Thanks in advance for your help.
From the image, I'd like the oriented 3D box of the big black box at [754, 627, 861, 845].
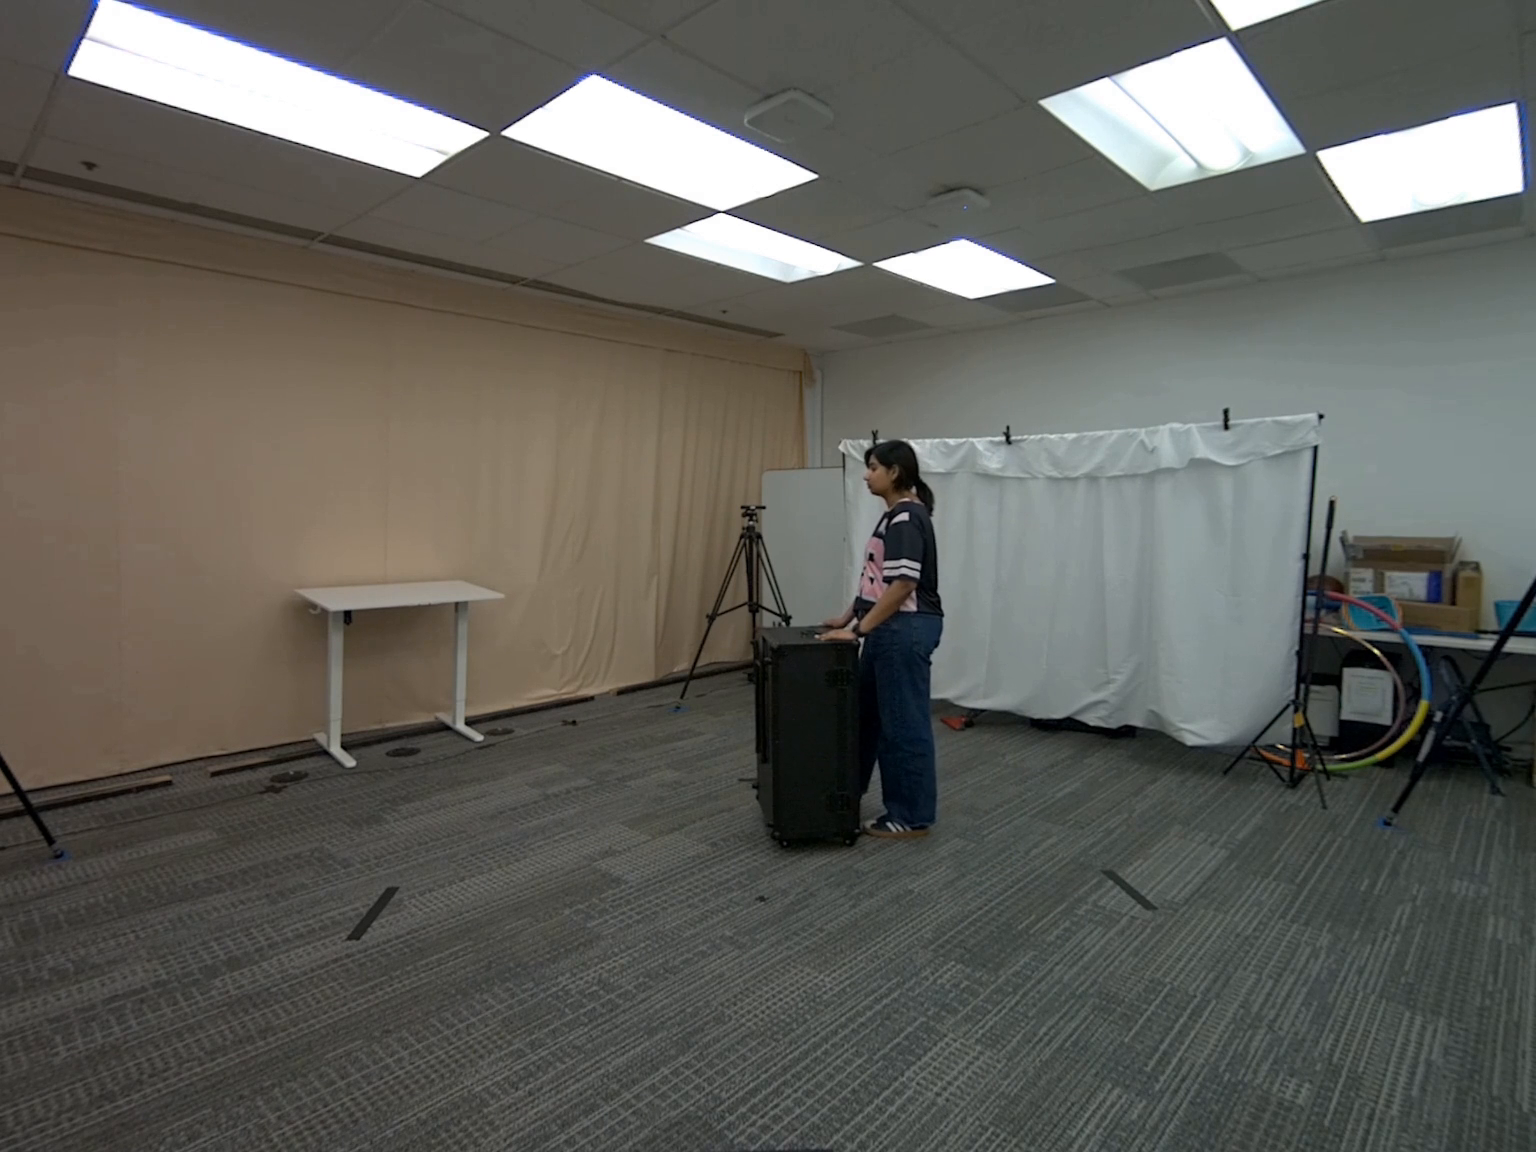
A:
[{"bbox_3d":[0.155,0.671,3.562,0.382,0.866,0.529,-1,4,-8],"label":"big black box"}]
